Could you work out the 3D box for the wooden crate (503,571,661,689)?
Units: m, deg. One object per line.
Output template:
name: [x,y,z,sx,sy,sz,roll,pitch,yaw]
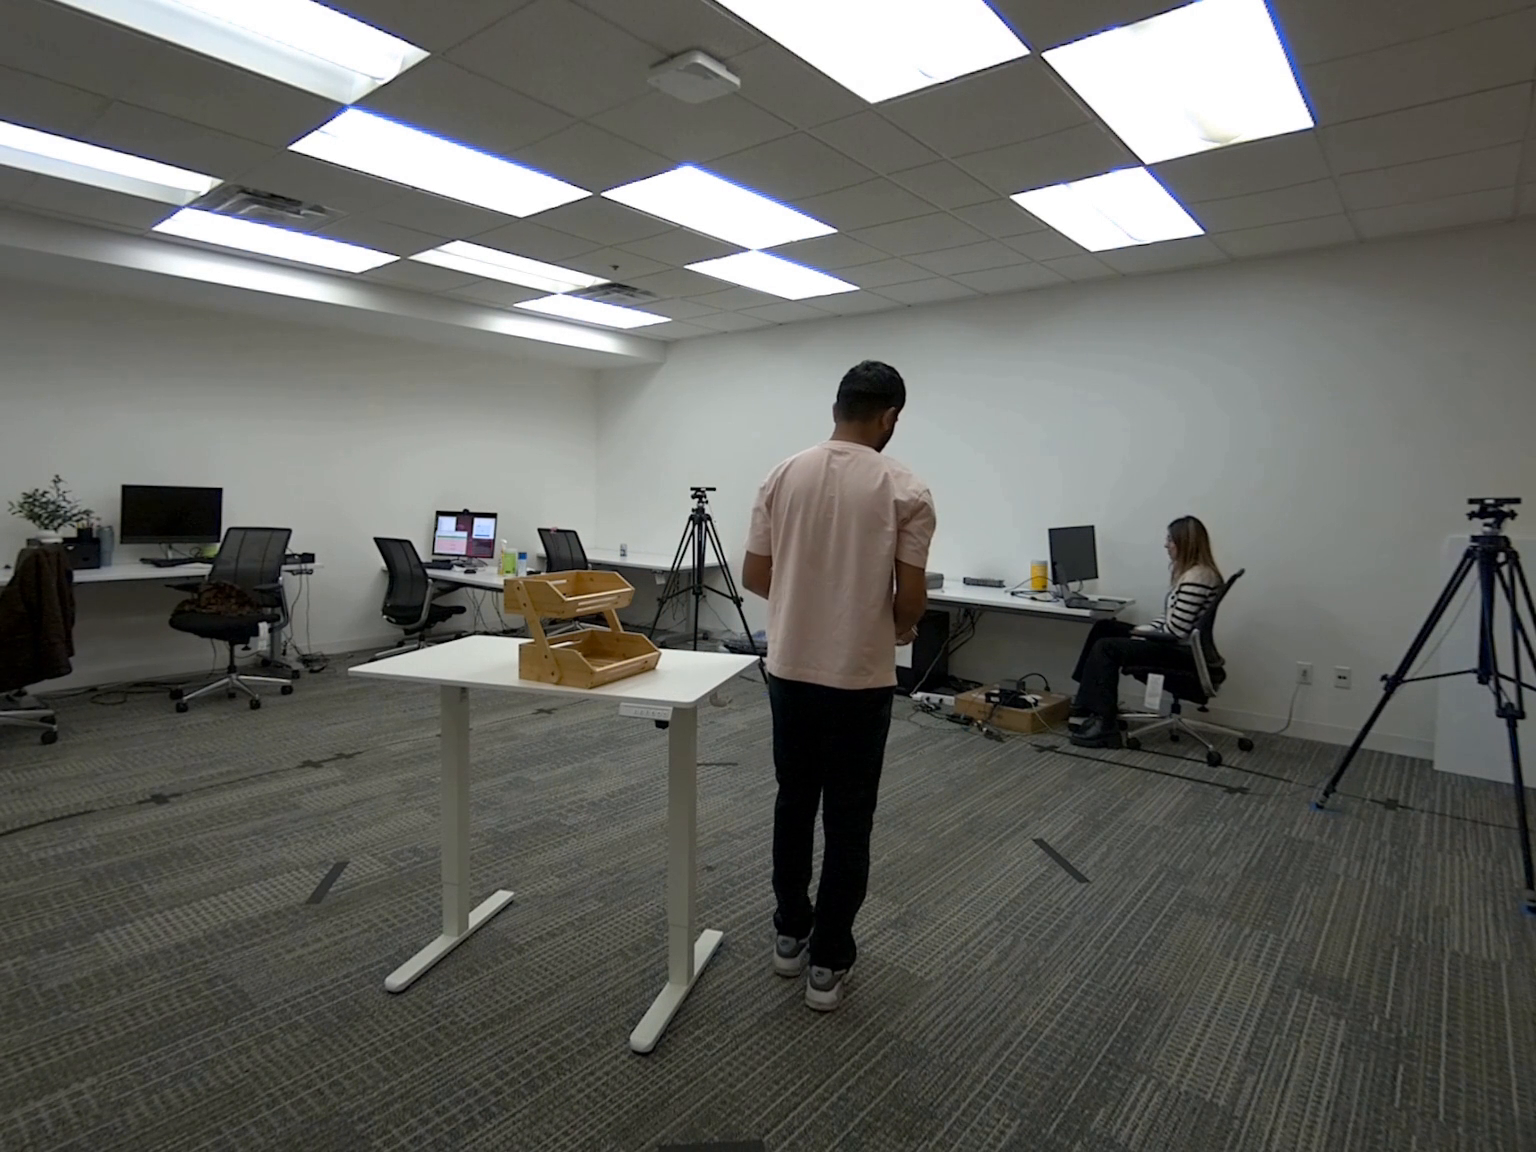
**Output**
wooden crate: [-0.503,0.129,2.294,0.310,0.272,0.316,3,4,28]
